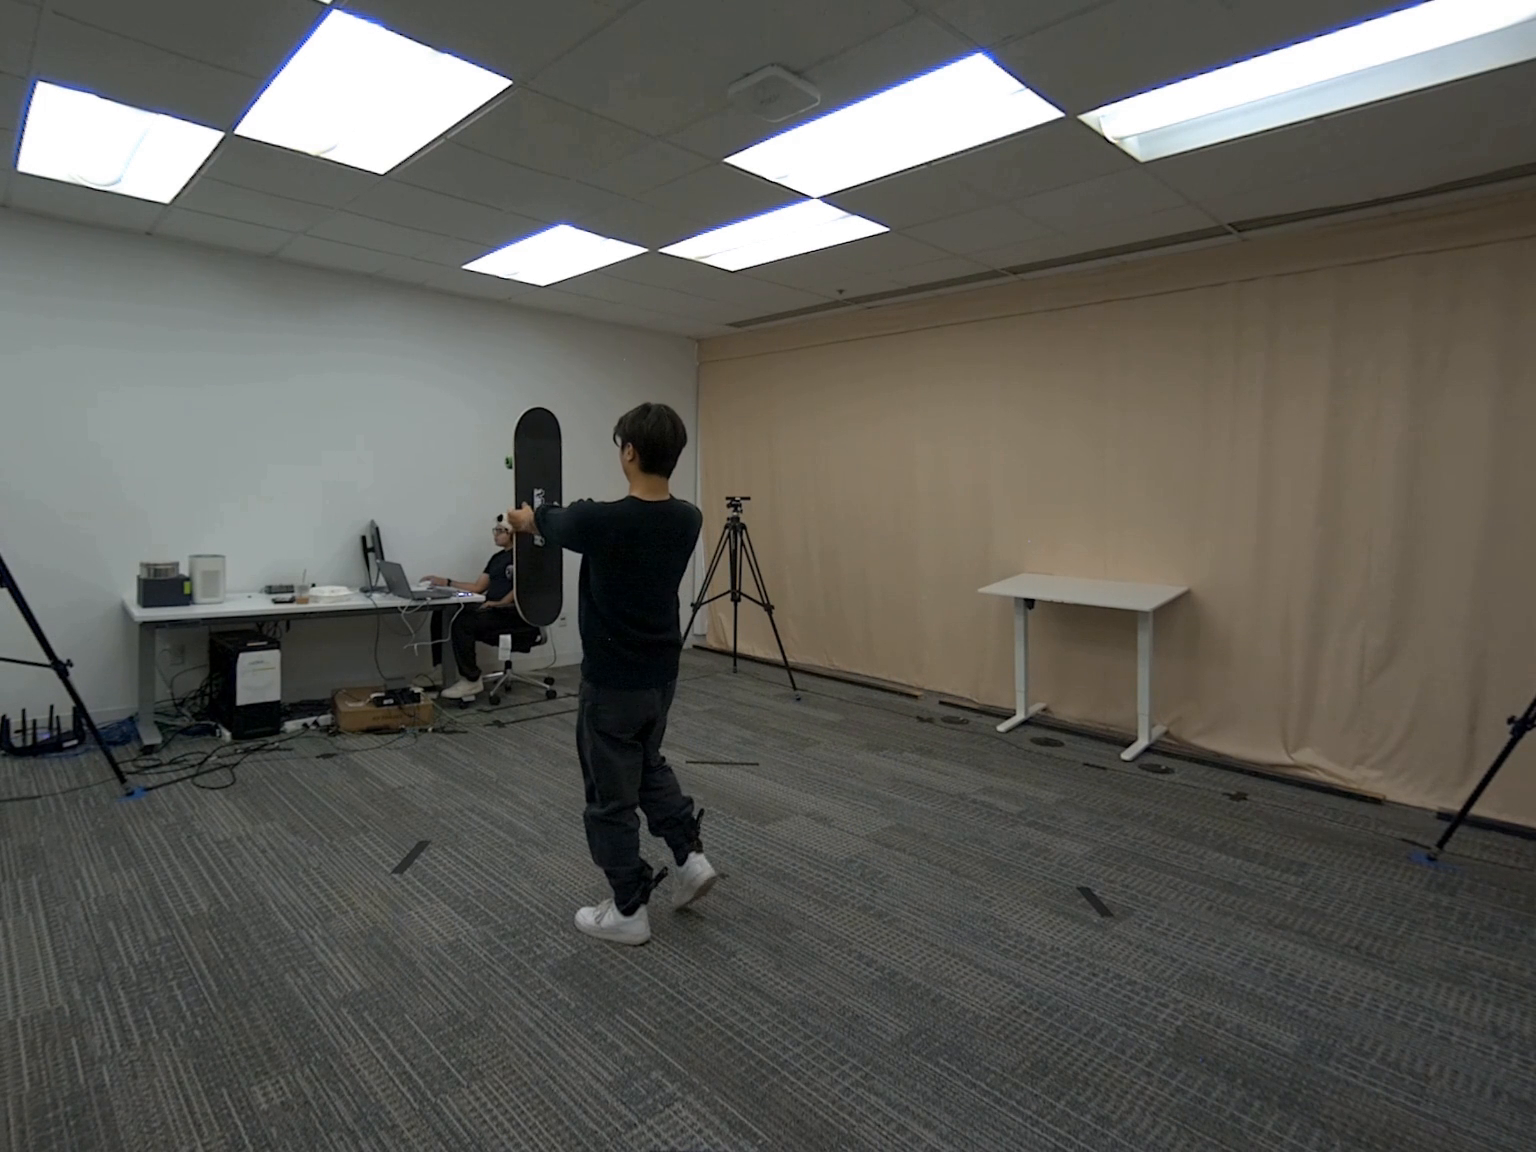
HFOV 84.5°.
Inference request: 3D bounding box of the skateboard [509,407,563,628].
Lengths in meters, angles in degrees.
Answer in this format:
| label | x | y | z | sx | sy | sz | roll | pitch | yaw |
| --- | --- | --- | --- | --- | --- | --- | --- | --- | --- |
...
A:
| label | x | y | z | sx | sy | sz | roll | pitch | yaw |
| --- | --- | --- | --- | --- | --- | --- | --- | --- | --- |
| skateboard | -0.850 | -0.211 | 3.059 | 0.189 | 0.785 | 0.113 | 0 | 0 | -42 |
